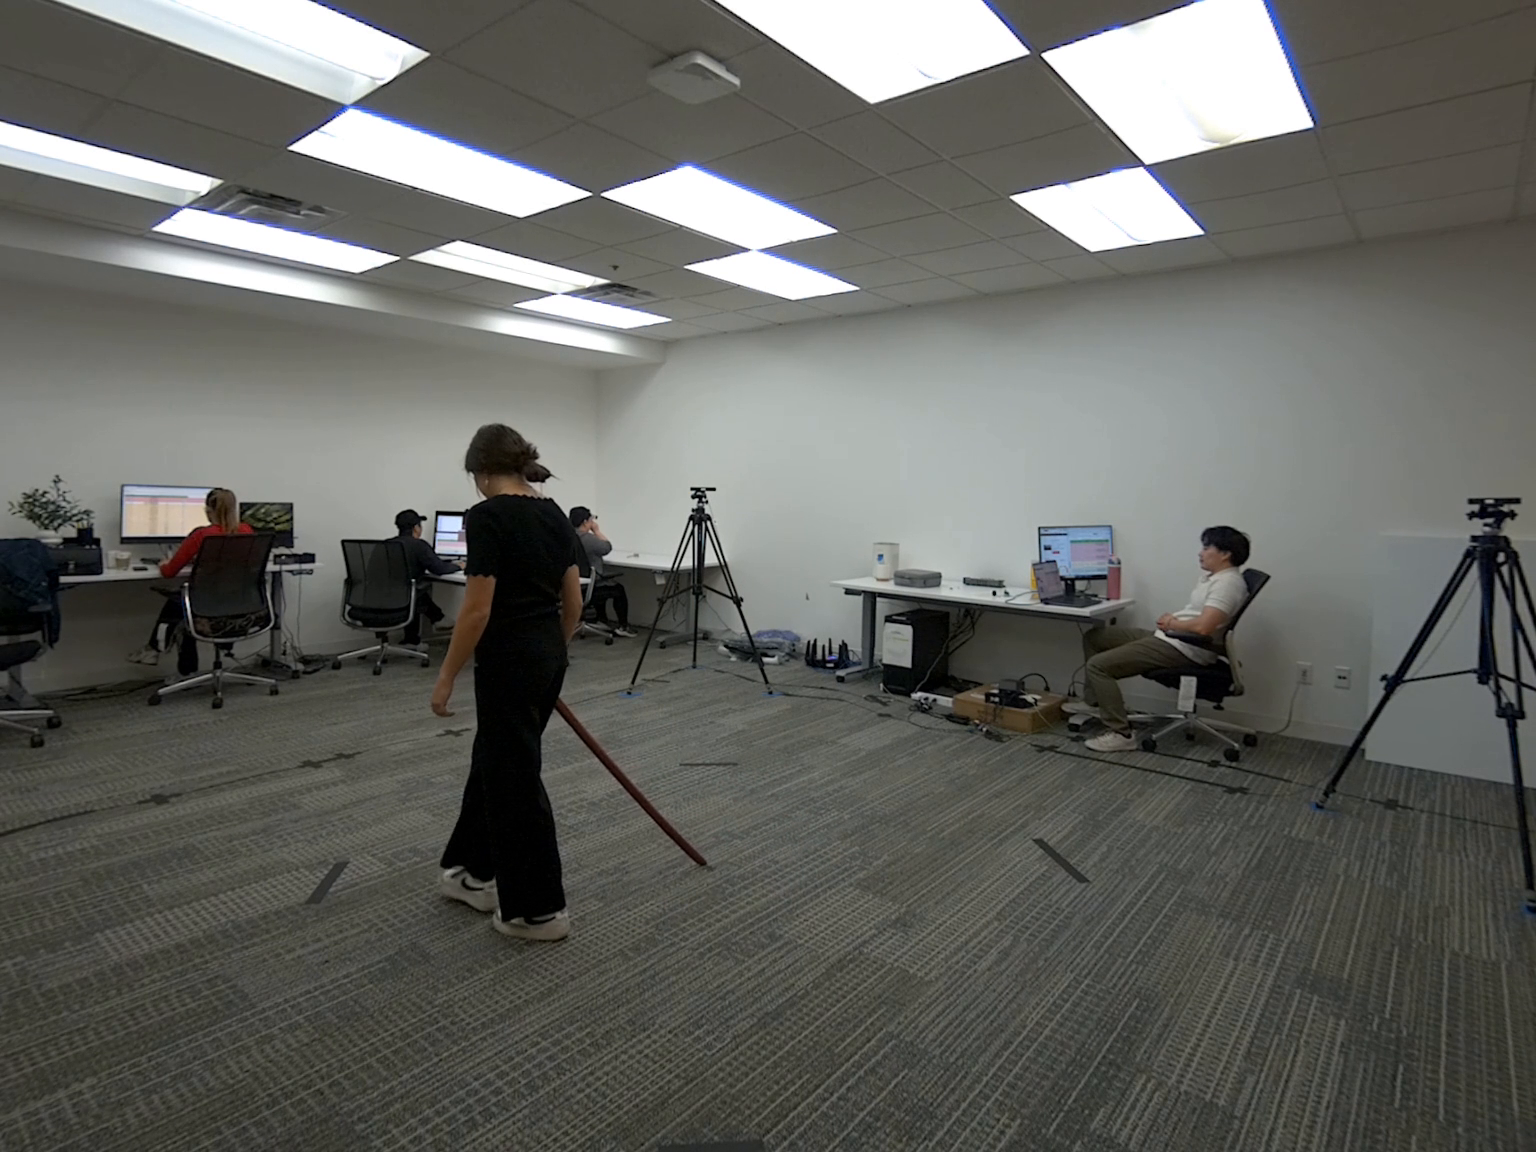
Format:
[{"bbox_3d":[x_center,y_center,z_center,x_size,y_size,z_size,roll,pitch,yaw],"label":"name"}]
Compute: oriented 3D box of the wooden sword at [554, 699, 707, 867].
[{"bbox_3d":[-0.531,0.691,2.993,0.024,1.001,0.051,-17,27,52],"label":"wooden sword"}]
